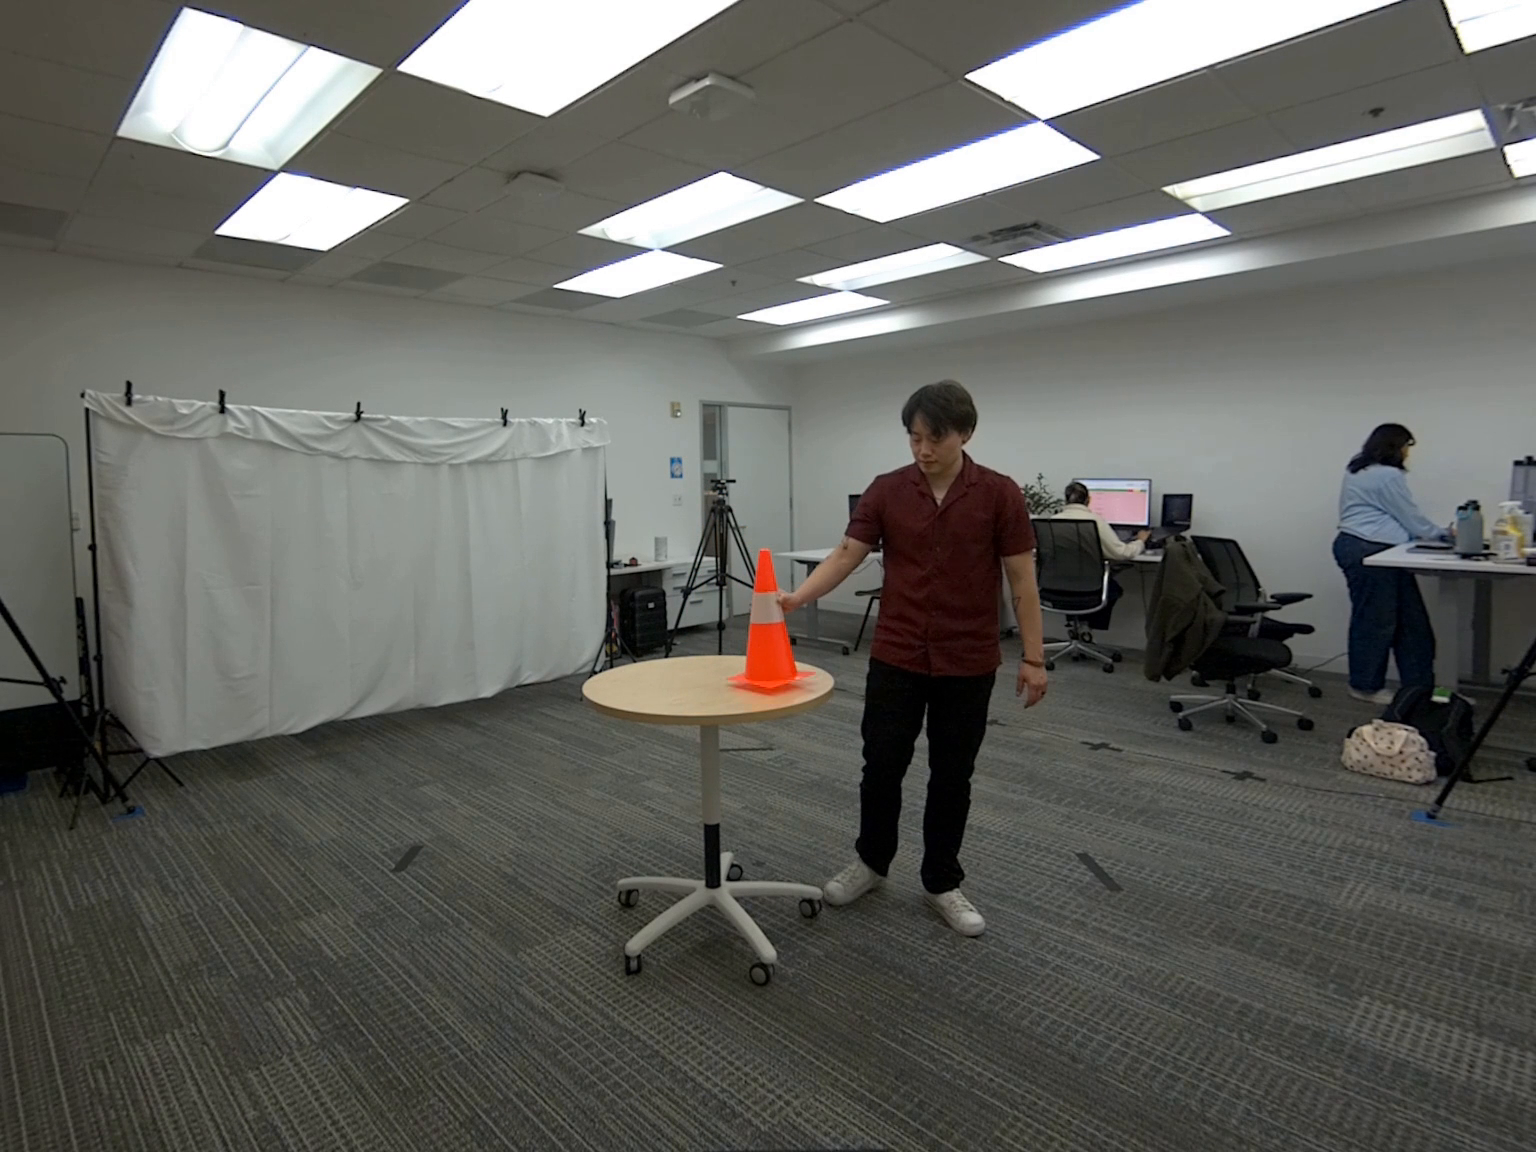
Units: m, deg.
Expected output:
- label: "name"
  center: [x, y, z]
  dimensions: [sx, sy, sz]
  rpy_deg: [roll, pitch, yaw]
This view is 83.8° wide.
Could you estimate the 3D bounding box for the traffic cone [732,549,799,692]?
- label: "traffic cone"
  center: [0.003, 0.115, 2.523]
  dimensions: [0.209, 0.383, 0.200]
  rpy_deg: [-2, 4, 39]
